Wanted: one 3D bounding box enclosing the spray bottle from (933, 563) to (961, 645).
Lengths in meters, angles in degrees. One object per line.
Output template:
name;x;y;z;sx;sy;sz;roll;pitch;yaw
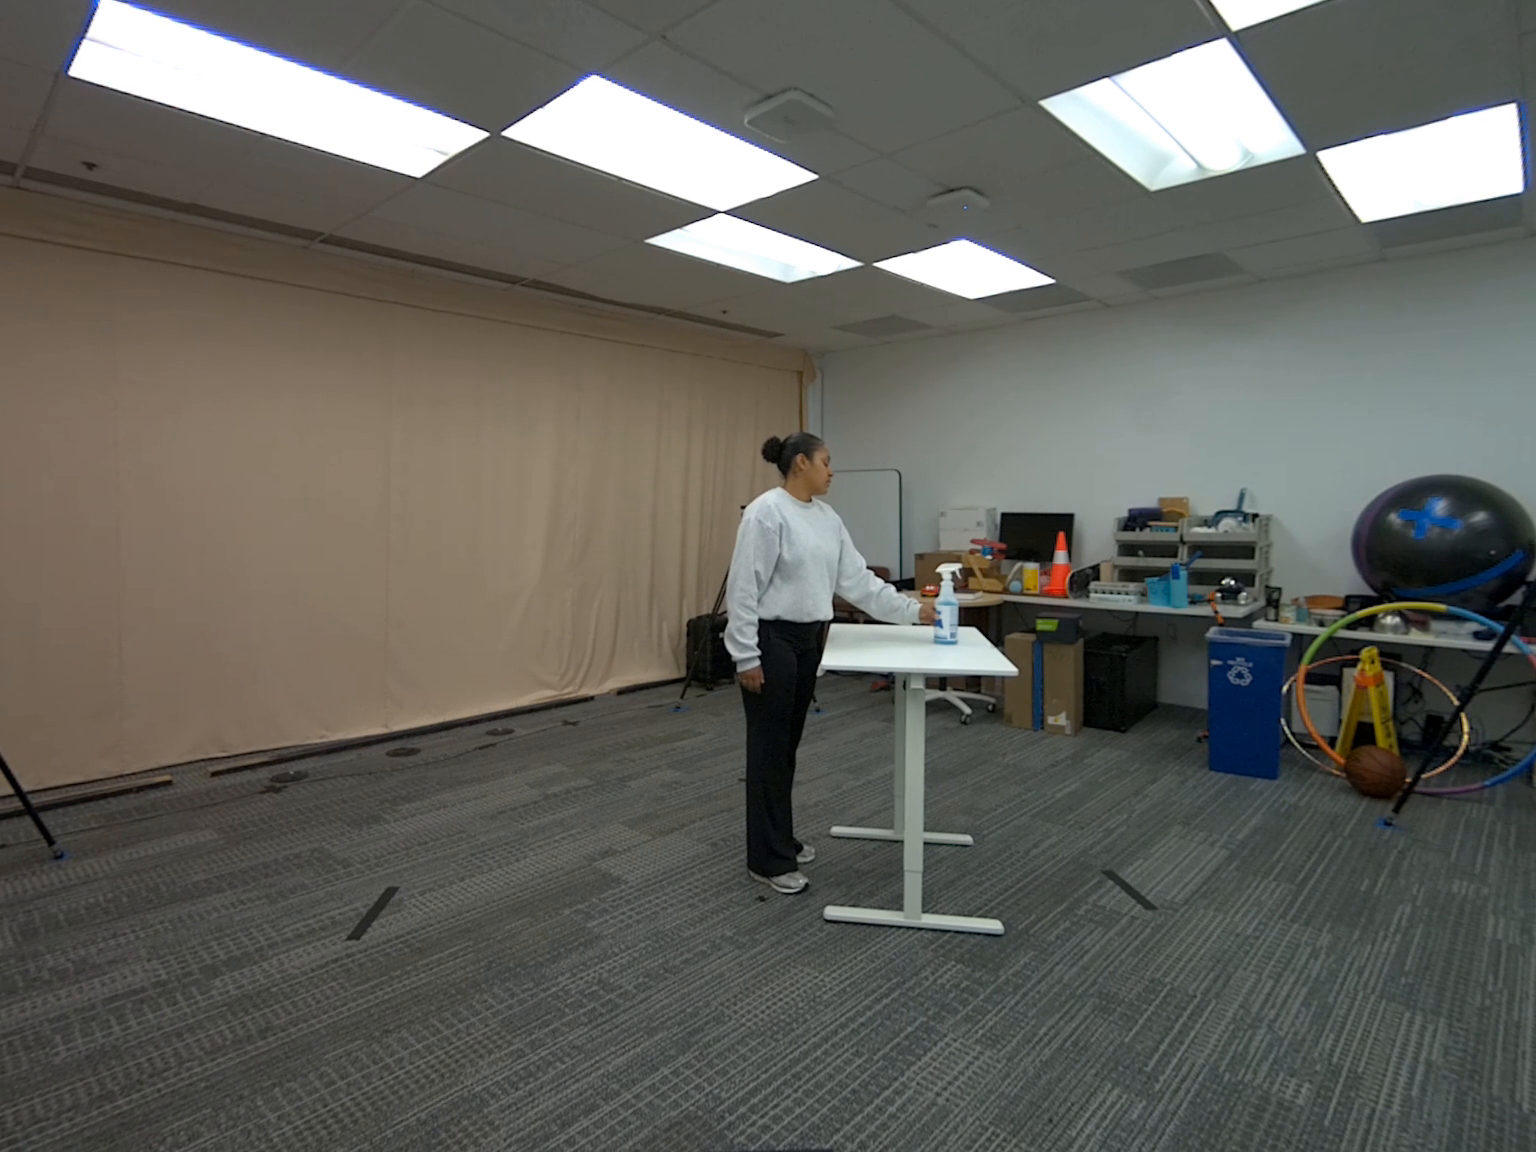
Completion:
spray bottle;0.670;0.107;3.102;0.093;0.296;0.084;7;7;34
